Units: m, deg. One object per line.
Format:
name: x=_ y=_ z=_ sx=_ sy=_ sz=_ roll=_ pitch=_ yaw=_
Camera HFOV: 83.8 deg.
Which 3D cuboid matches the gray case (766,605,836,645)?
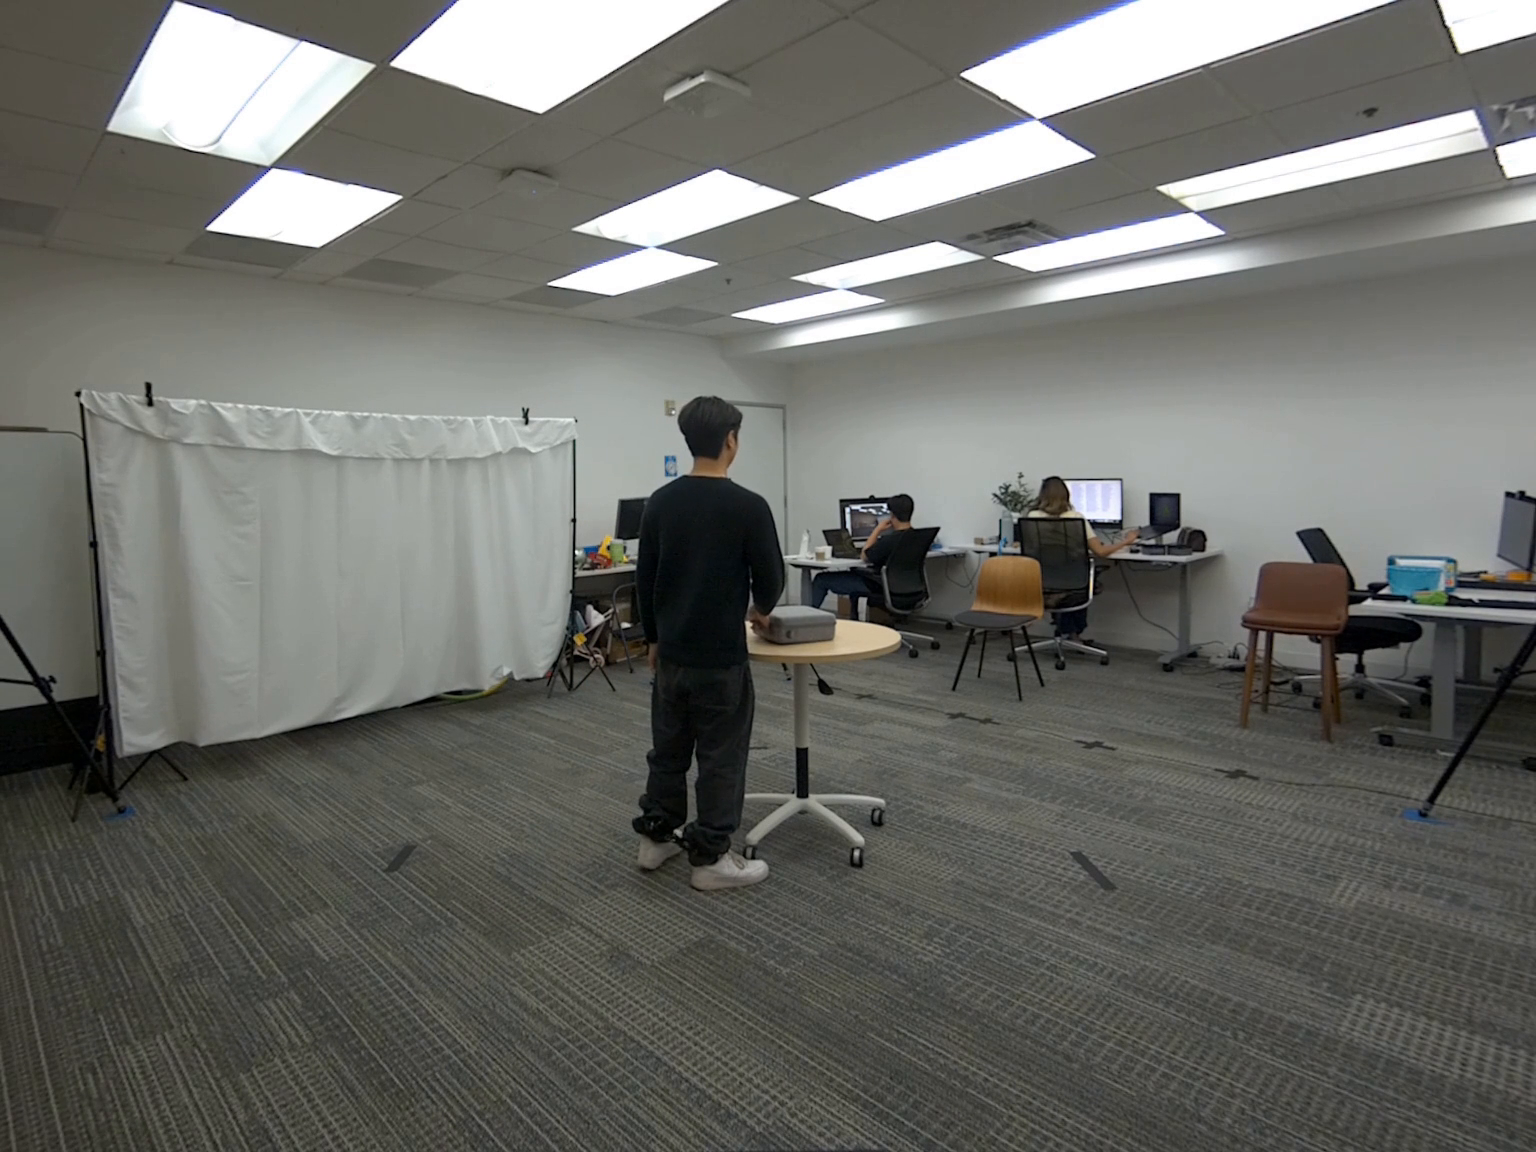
gray case: x=0.098 y=0.181 z=3.266 sx=0.255 sy=0.104 sz=0.263 roll=-2 pitch=7 yaw=-23
